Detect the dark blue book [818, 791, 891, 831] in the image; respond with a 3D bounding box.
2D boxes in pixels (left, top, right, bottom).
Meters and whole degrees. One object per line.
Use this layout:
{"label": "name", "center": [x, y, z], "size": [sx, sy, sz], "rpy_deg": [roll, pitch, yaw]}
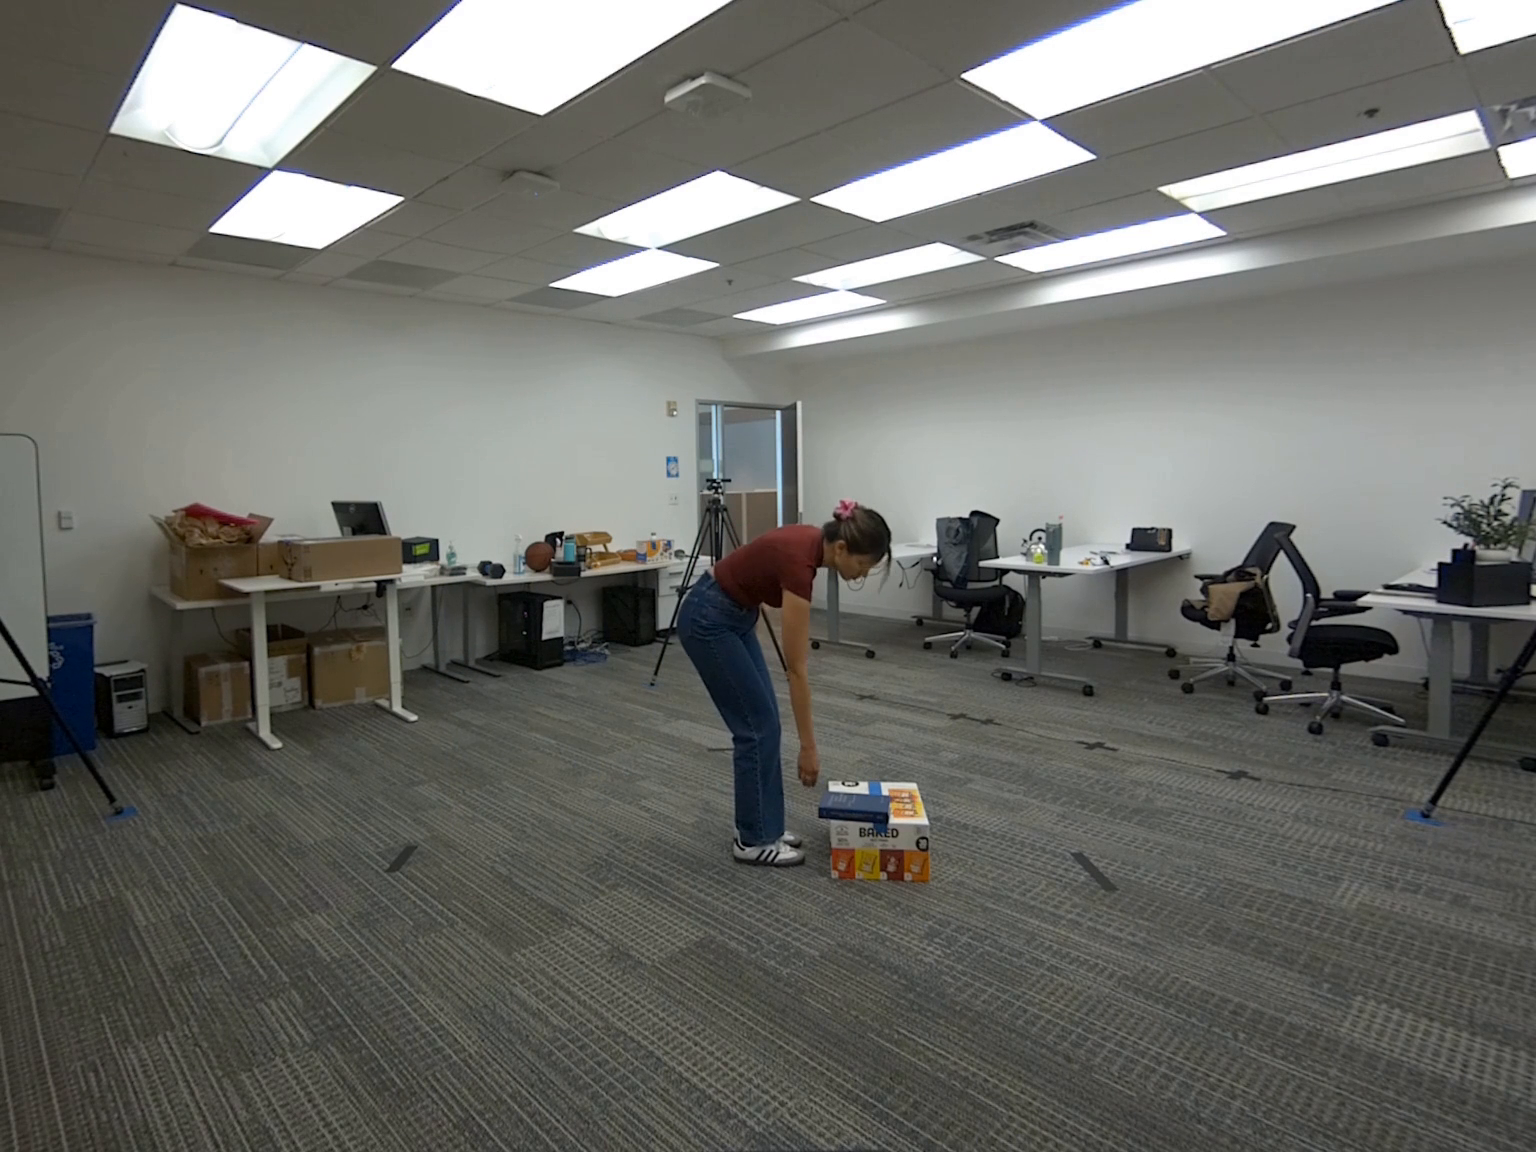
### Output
{"label": "dark blue book", "center": [0.306, 0.814, 3.037], "size": [0.248, 0.045, 0.162], "rpy_deg": [0, 5, 13]}
